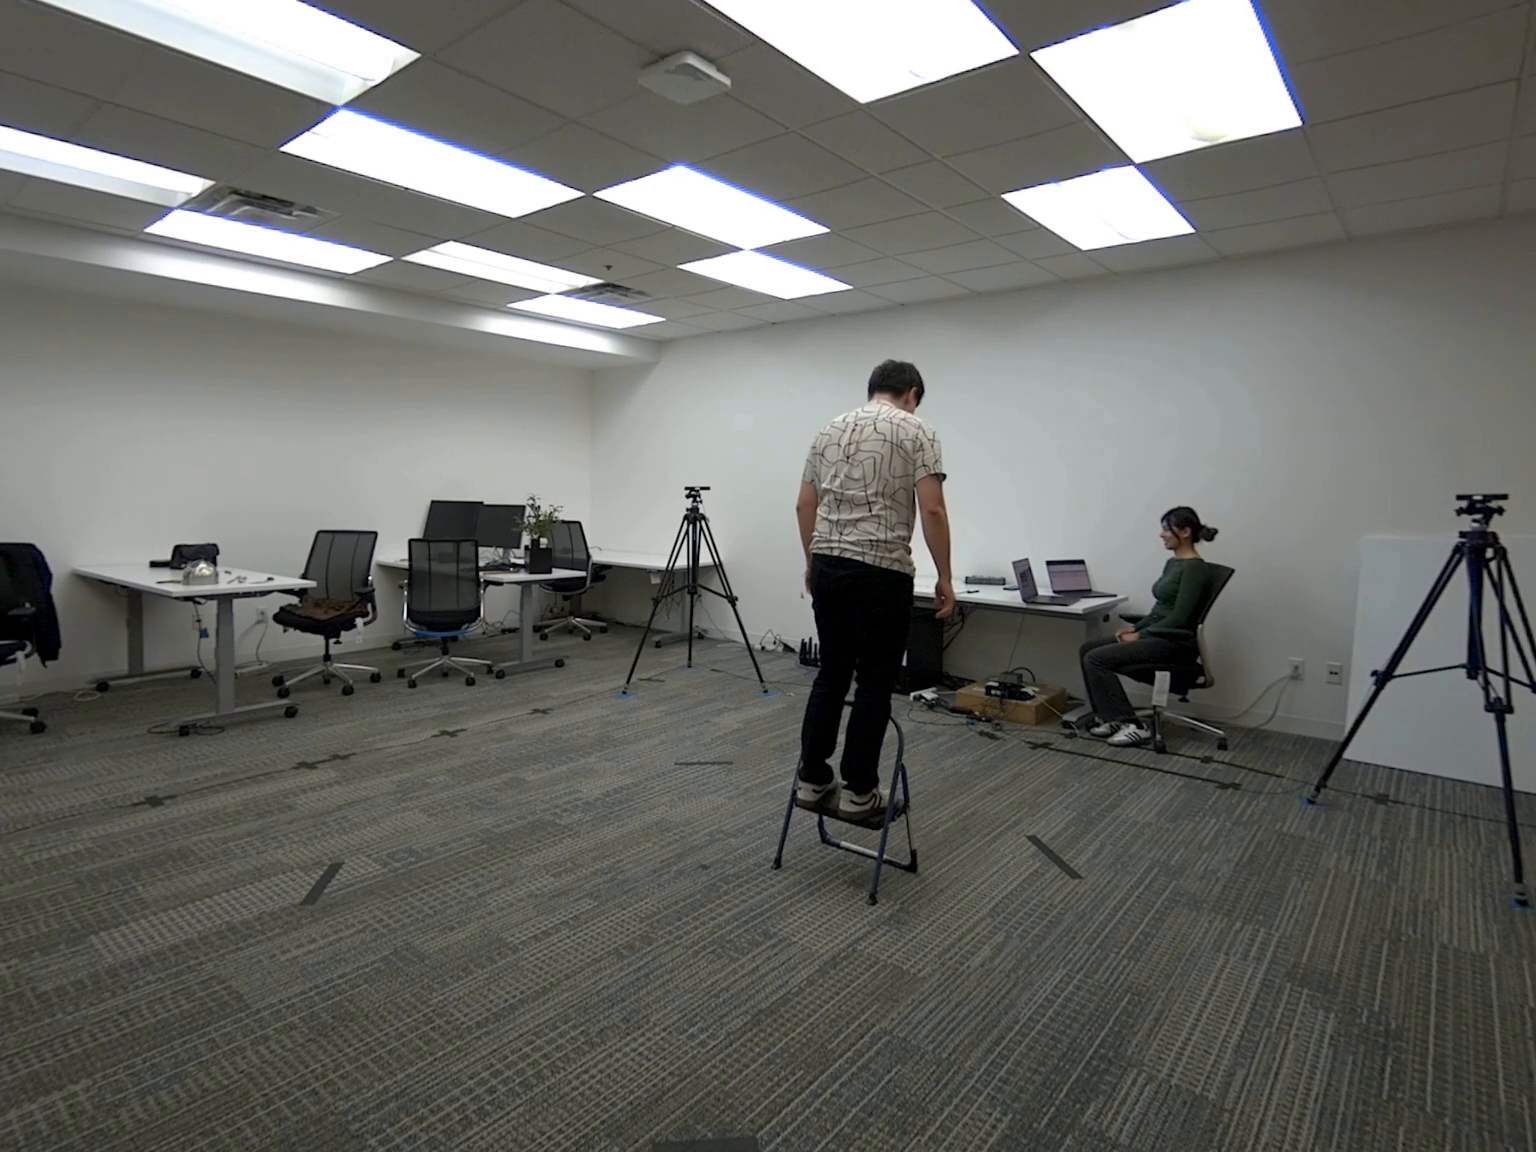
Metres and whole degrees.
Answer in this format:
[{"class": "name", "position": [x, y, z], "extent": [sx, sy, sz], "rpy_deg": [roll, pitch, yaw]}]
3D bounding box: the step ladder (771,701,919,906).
[{"class": "step ladder", "position": [0.285, 0.769, 3.105], "extent": [0.445, 0.604, 0.339], "rpy_deg": [4, 4, 37]}]
